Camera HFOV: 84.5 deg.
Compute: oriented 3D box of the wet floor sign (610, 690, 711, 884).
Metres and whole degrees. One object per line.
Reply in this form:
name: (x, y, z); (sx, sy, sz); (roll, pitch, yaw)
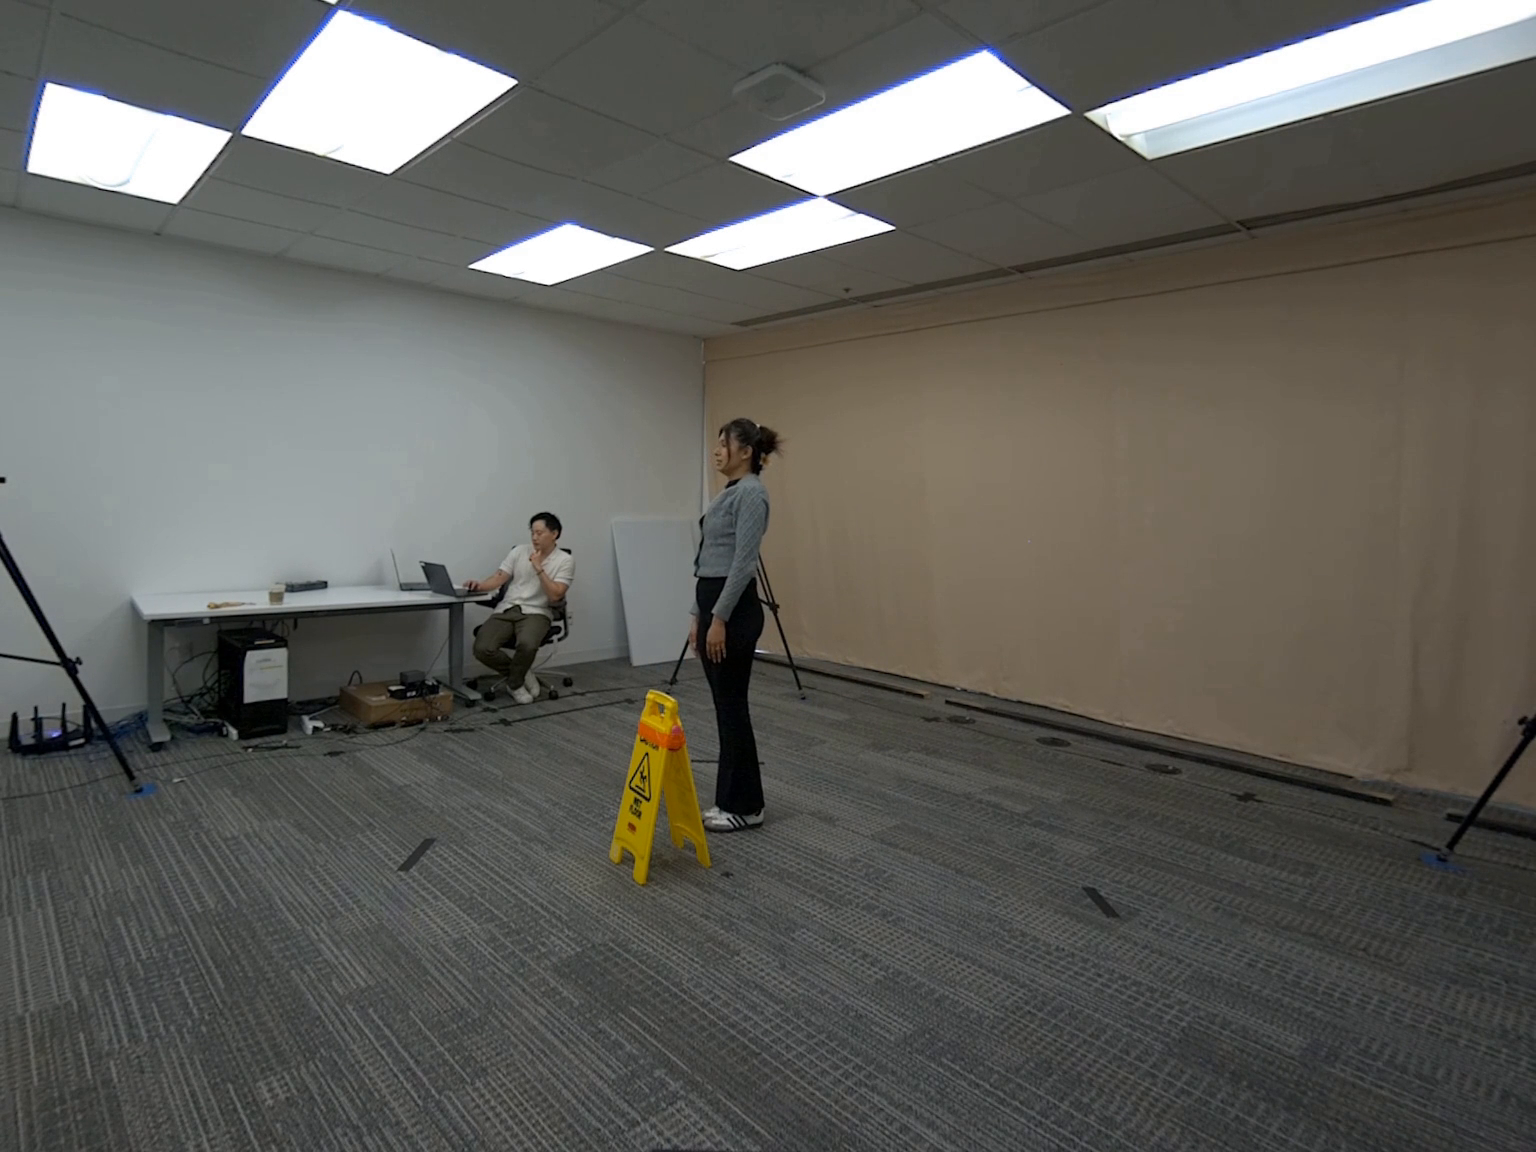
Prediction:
wet floor sign: (-0.414, 0.767, 3.170); (0.283, 0.645, 0.289); (-1, 3, -34)
